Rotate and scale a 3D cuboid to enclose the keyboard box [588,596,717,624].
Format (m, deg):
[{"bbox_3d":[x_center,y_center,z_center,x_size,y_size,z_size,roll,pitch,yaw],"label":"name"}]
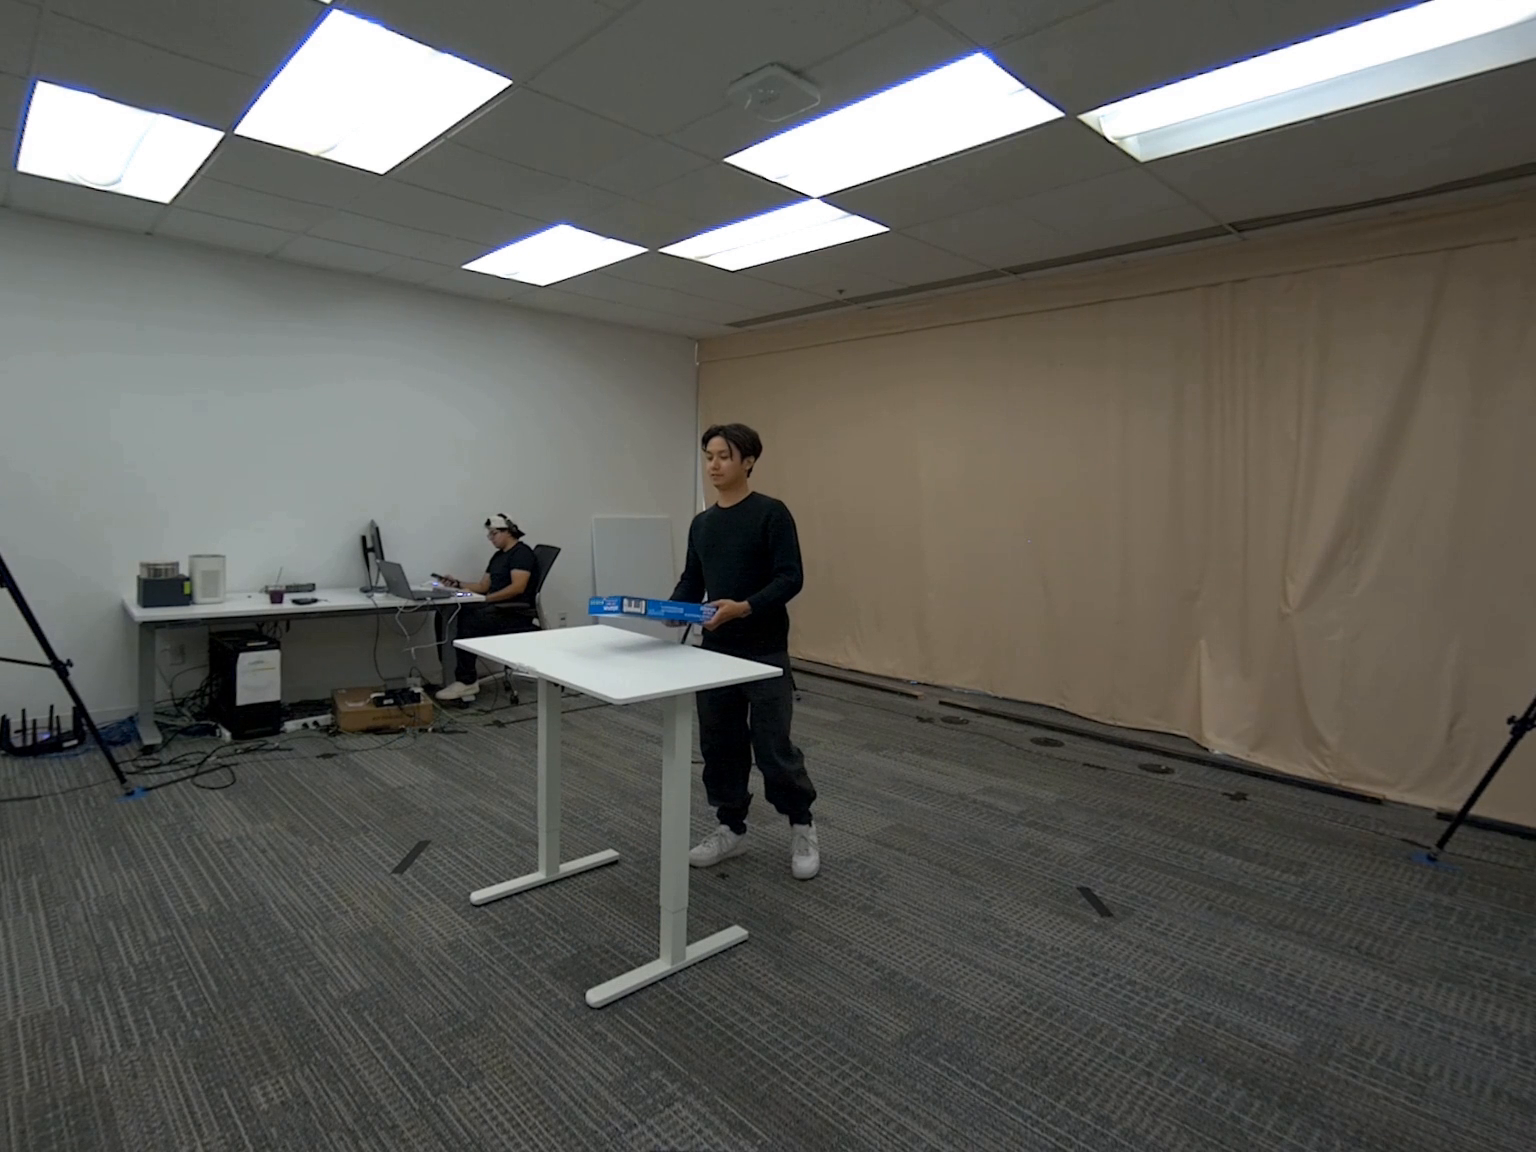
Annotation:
[{"bbox_3d":[-0.396,0.121,2.877,0.180,0.059,0.425,-3,-10,44],"label":"keyboard box"}]
